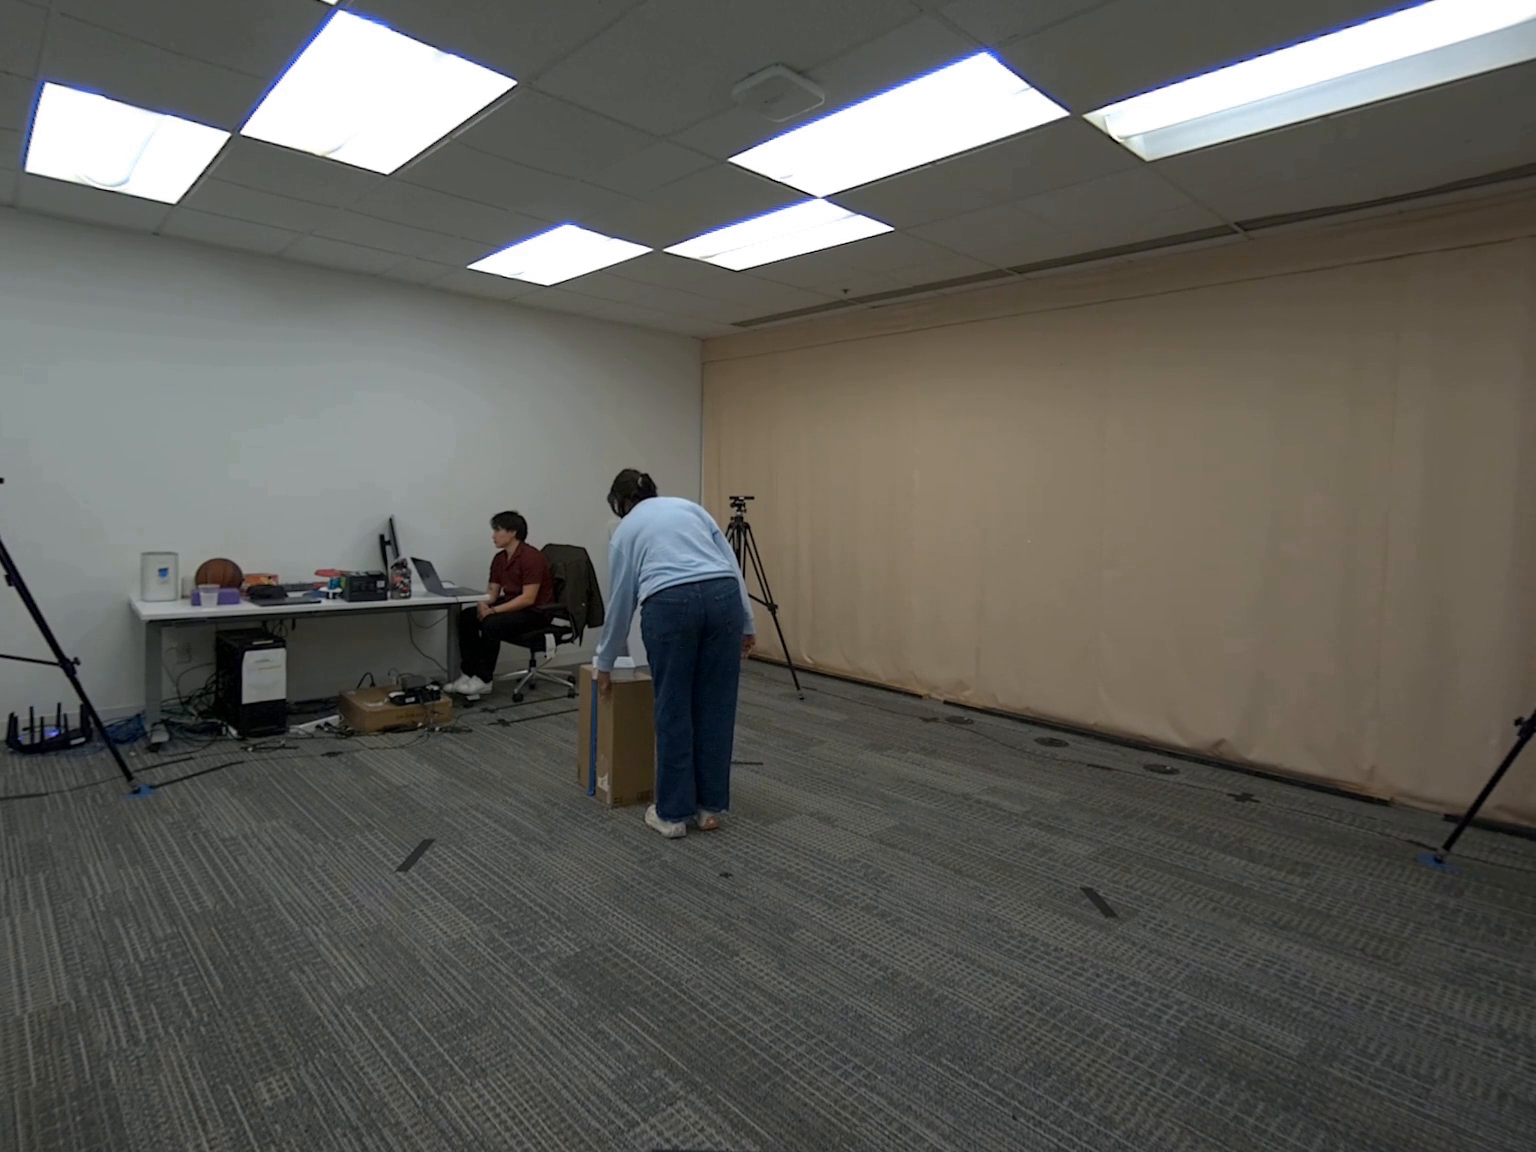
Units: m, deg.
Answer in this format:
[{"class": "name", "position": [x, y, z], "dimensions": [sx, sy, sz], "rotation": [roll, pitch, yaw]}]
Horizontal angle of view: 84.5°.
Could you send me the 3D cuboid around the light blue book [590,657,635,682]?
[{"class": "light blue book", "position": [-0.724, 0.427, 3.909], "dimensions": [0.189, 0.059, 0.264], "rotation": [2, 4, -12]}]
